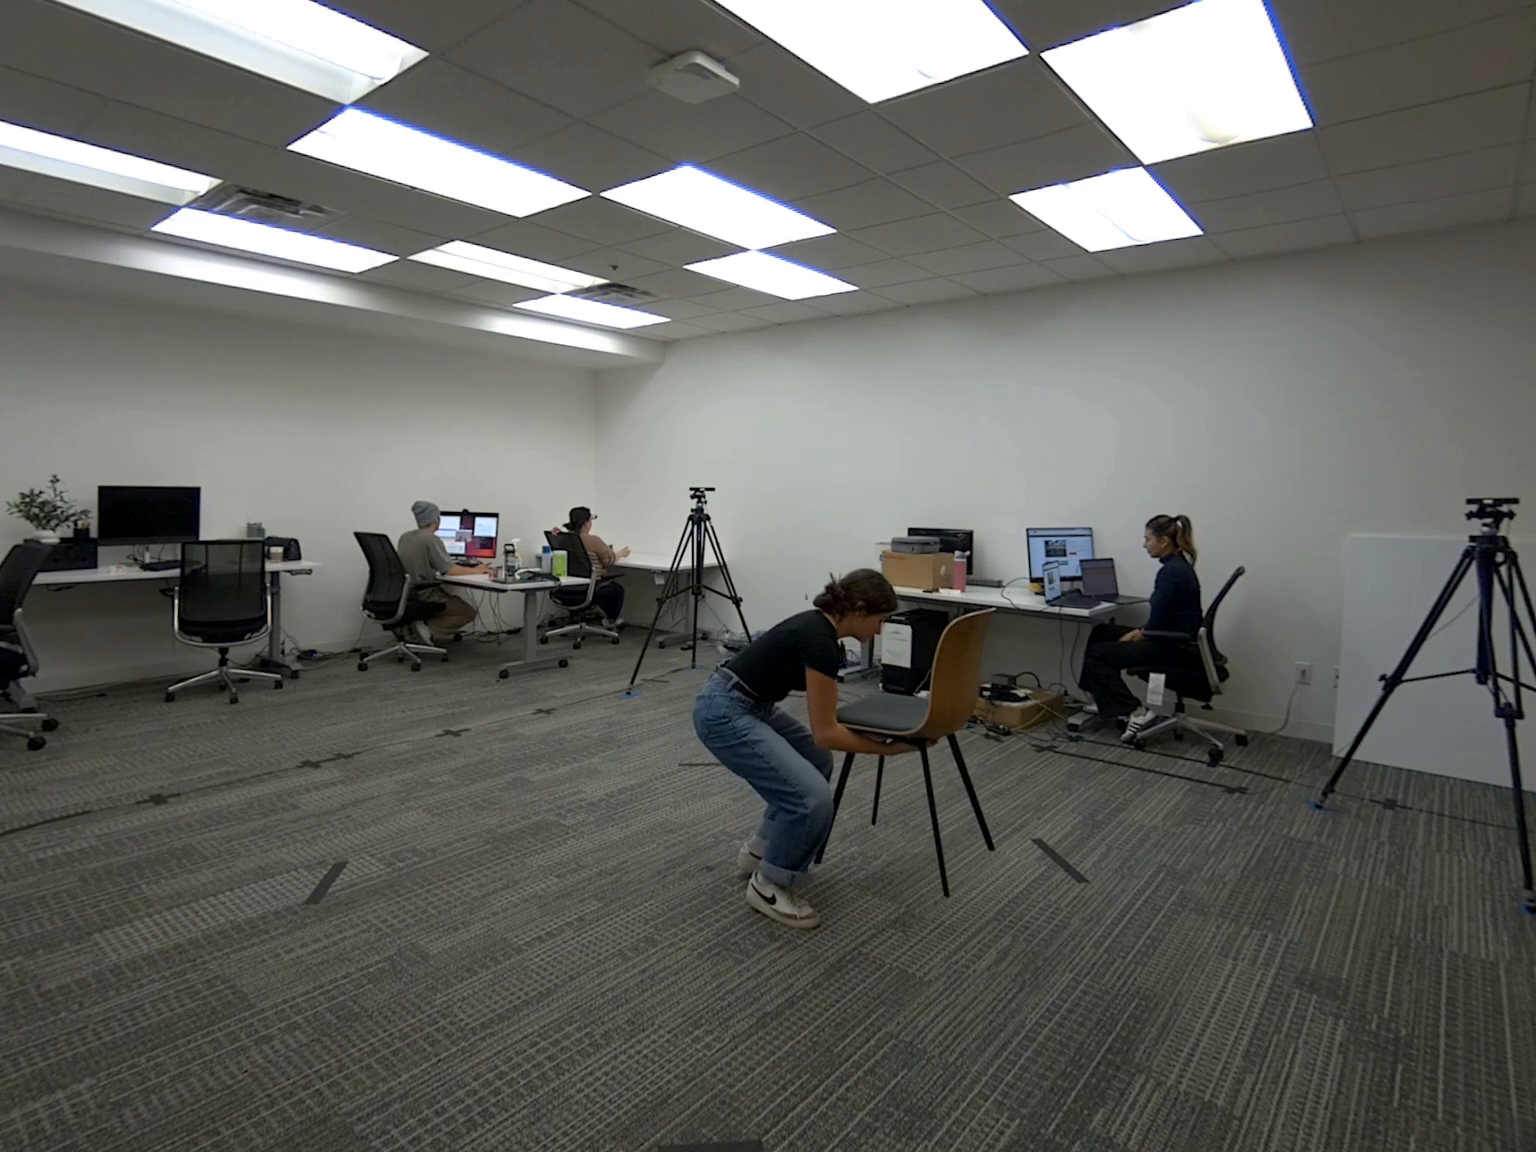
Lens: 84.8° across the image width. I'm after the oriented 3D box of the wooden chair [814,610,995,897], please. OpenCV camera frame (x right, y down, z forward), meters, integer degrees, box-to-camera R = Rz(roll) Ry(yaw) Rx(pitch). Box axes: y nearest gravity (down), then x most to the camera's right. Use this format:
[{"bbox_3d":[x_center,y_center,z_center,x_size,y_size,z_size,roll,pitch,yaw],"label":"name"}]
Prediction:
[{"bbox_3d":[0.444,0.518,2.843,0.540,0.875,0.464,5,4,33],"label":"wooden chair"}]
